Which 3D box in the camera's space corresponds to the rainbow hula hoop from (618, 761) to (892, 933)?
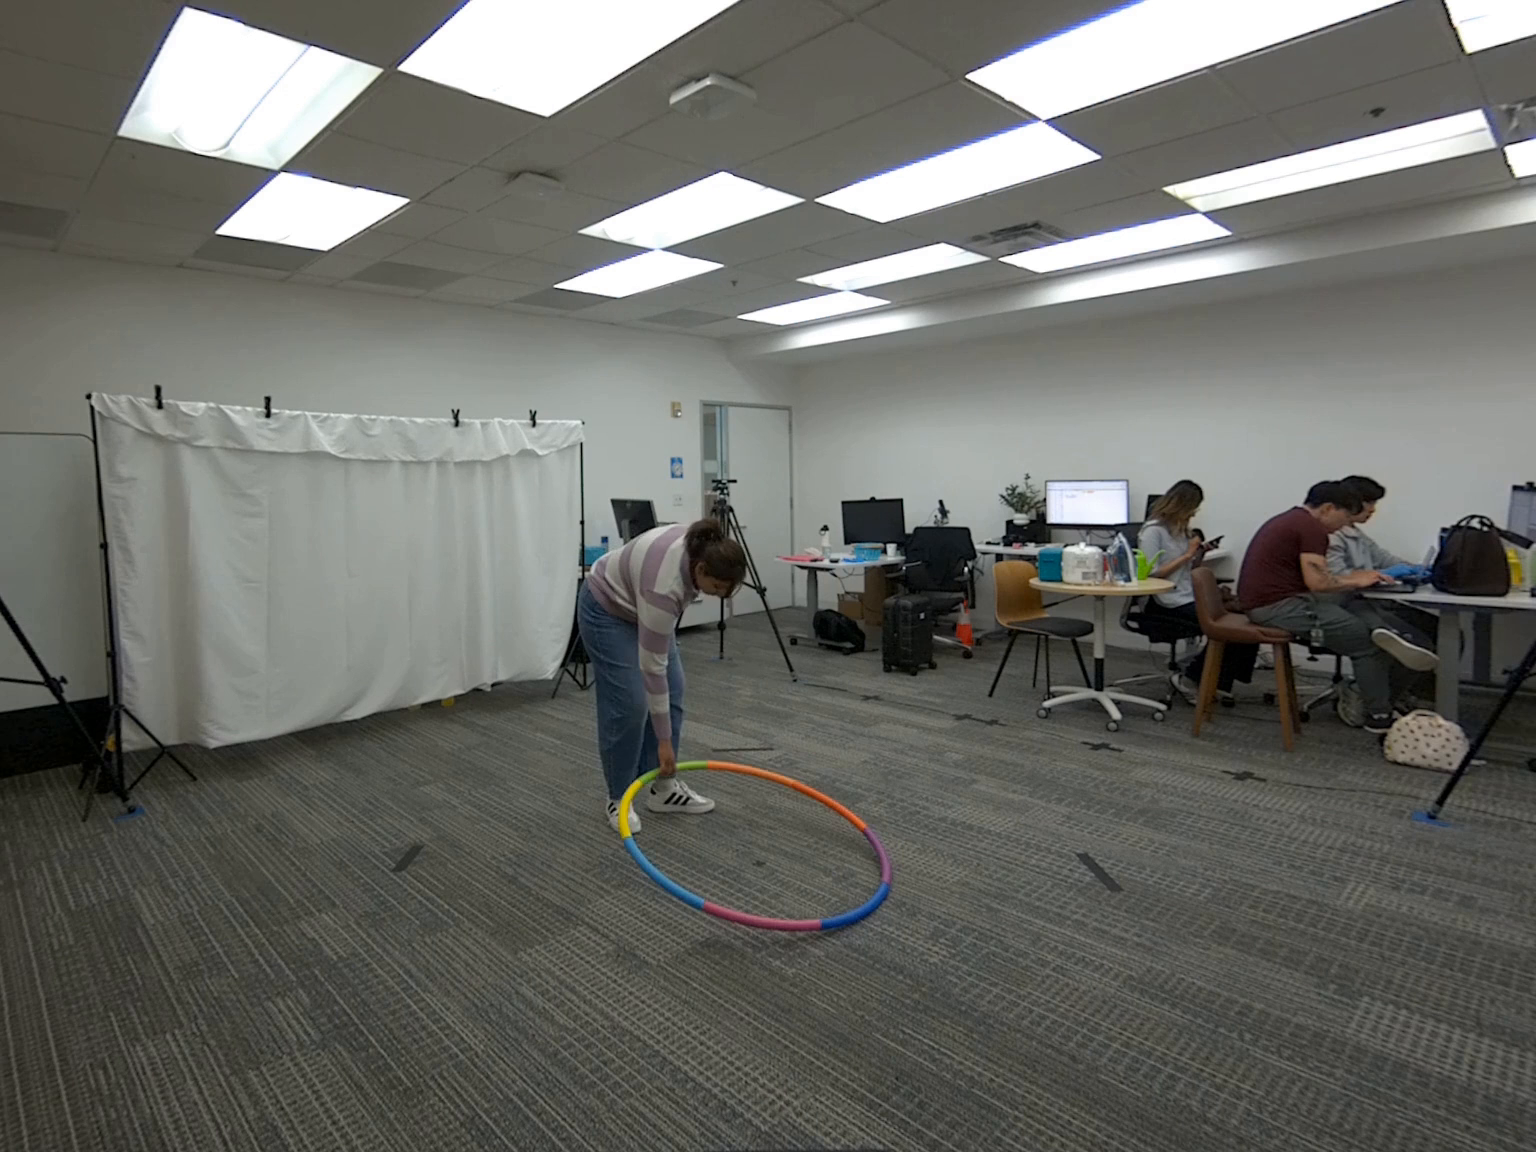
[{"bbox_3d":[-0.046,0.907,3.029,0.982,0.051,0.997,11,13,-4],"label":"rainbow hula hoop"}]
